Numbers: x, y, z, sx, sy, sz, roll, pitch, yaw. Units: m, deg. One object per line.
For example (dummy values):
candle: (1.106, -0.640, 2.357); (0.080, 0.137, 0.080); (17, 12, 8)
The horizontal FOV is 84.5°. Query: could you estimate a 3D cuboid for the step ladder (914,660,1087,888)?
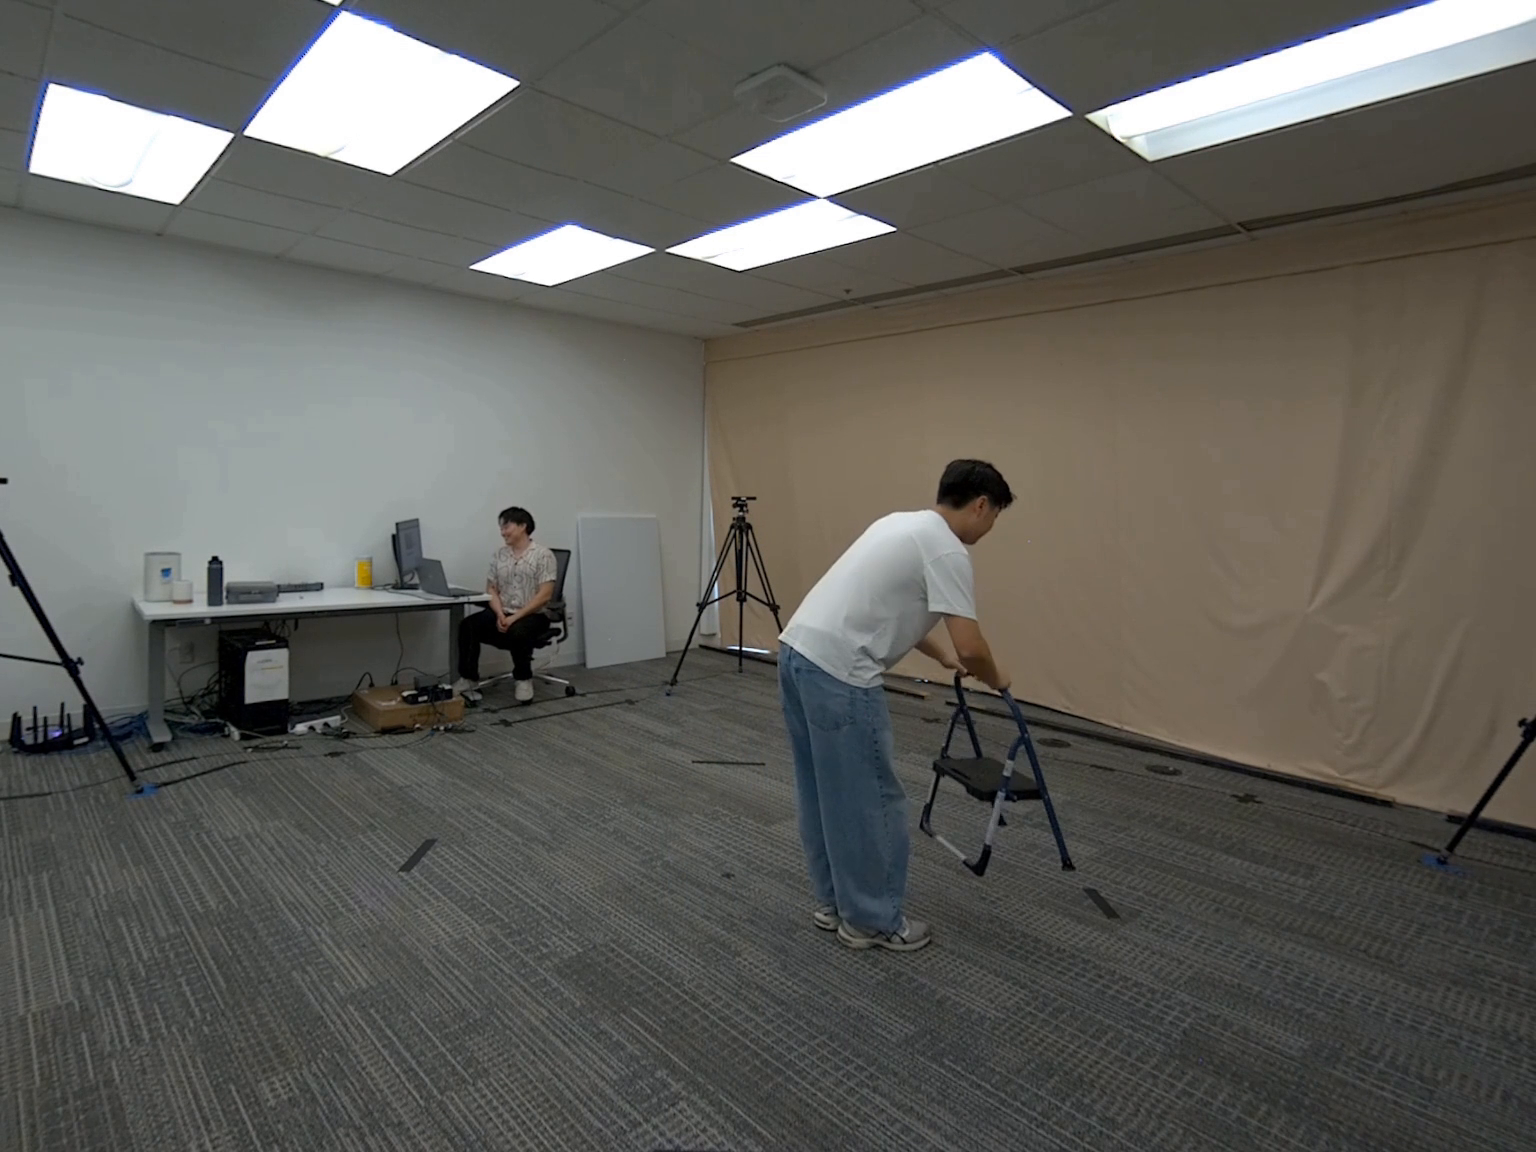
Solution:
step ladder: (0.760, 0.632, 2.841); (0.345, 0.604, 0.437); (0, 5, -16)
